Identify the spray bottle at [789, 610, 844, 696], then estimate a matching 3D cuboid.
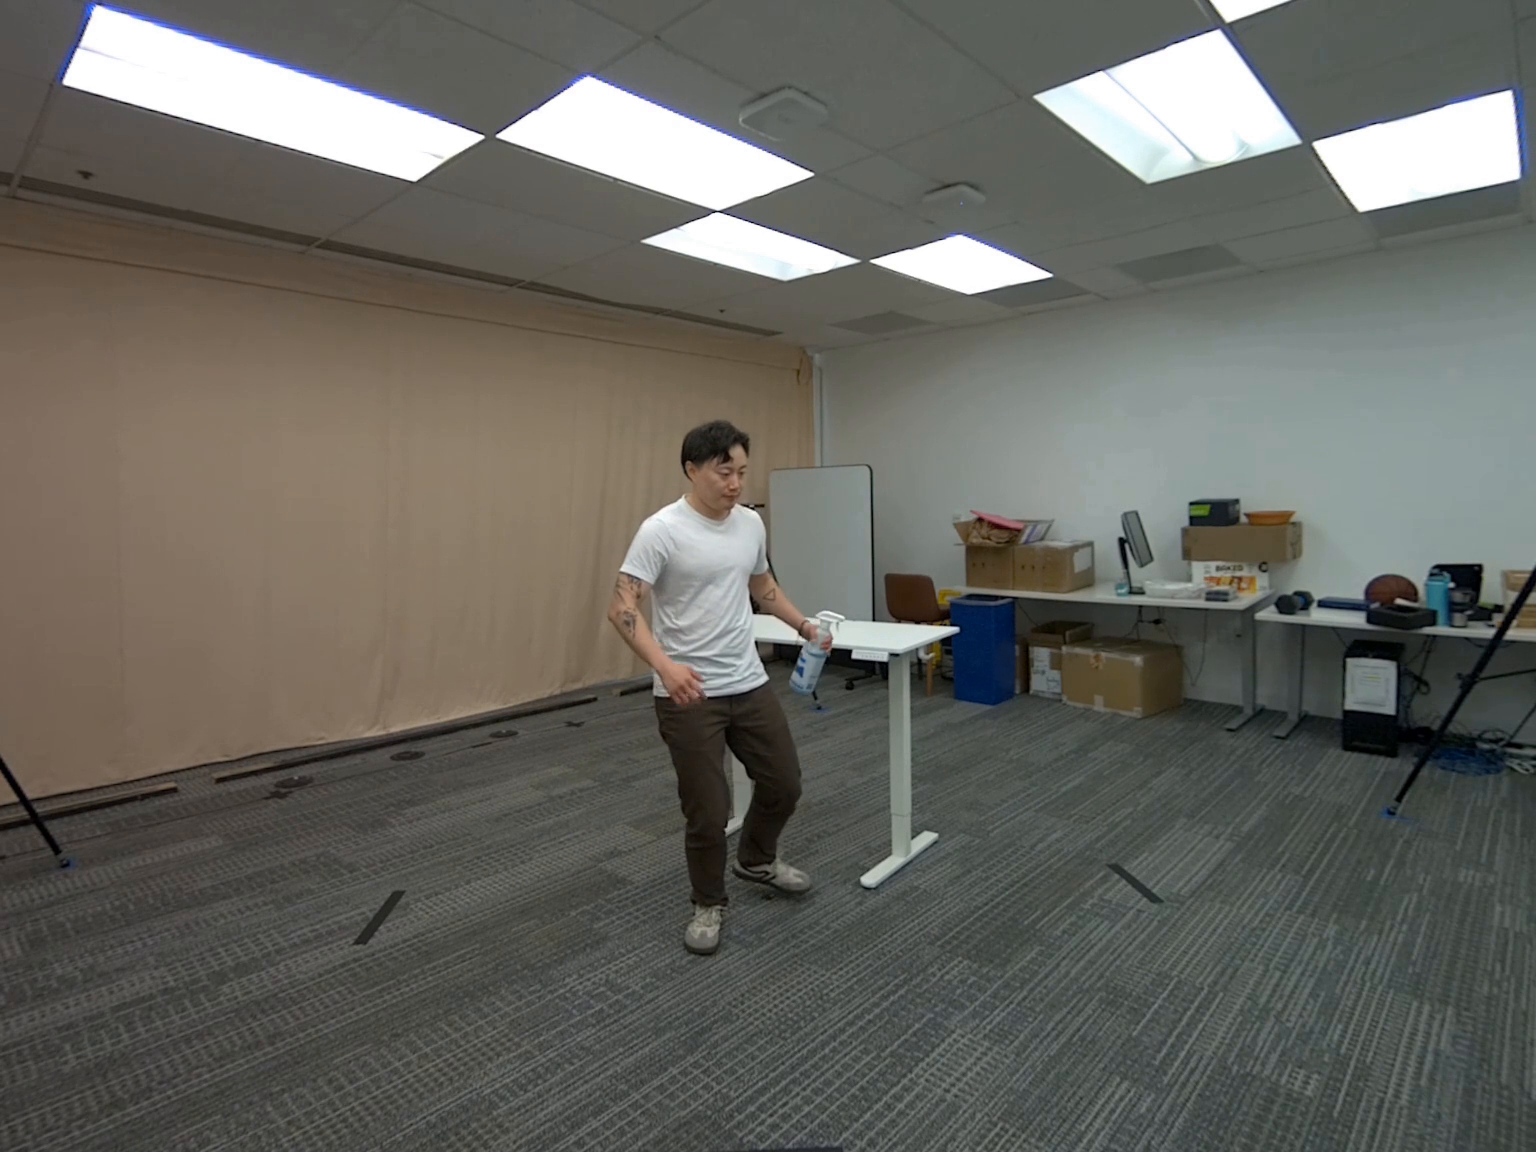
[{"bbox_3d":[0.161,0.243,2.809,0.093,0.296,0.085,30,22,25],"label":"spray bottle"}]
